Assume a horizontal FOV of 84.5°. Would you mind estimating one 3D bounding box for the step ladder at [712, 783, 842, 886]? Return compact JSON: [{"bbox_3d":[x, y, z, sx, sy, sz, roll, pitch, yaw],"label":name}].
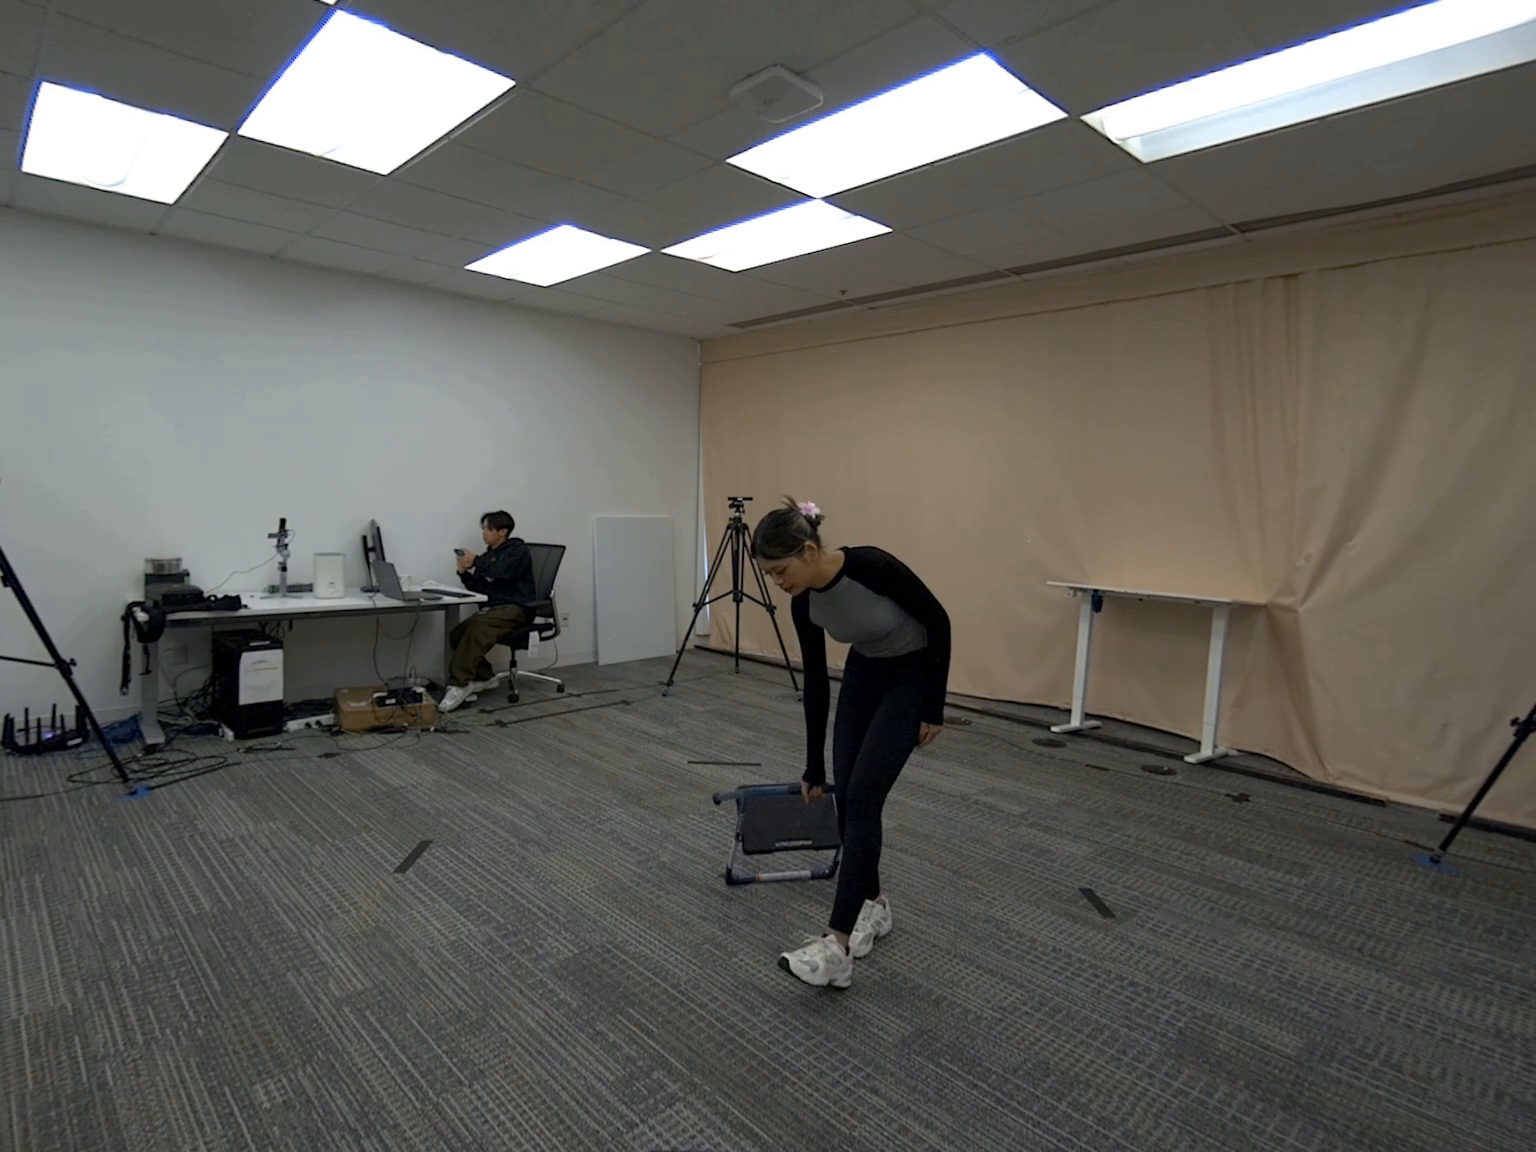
[{"bbox_3d":[0.068,0.799,2.955,0.426,0.358,0.597,0,-38,-13],"label":"step ladder"}]
